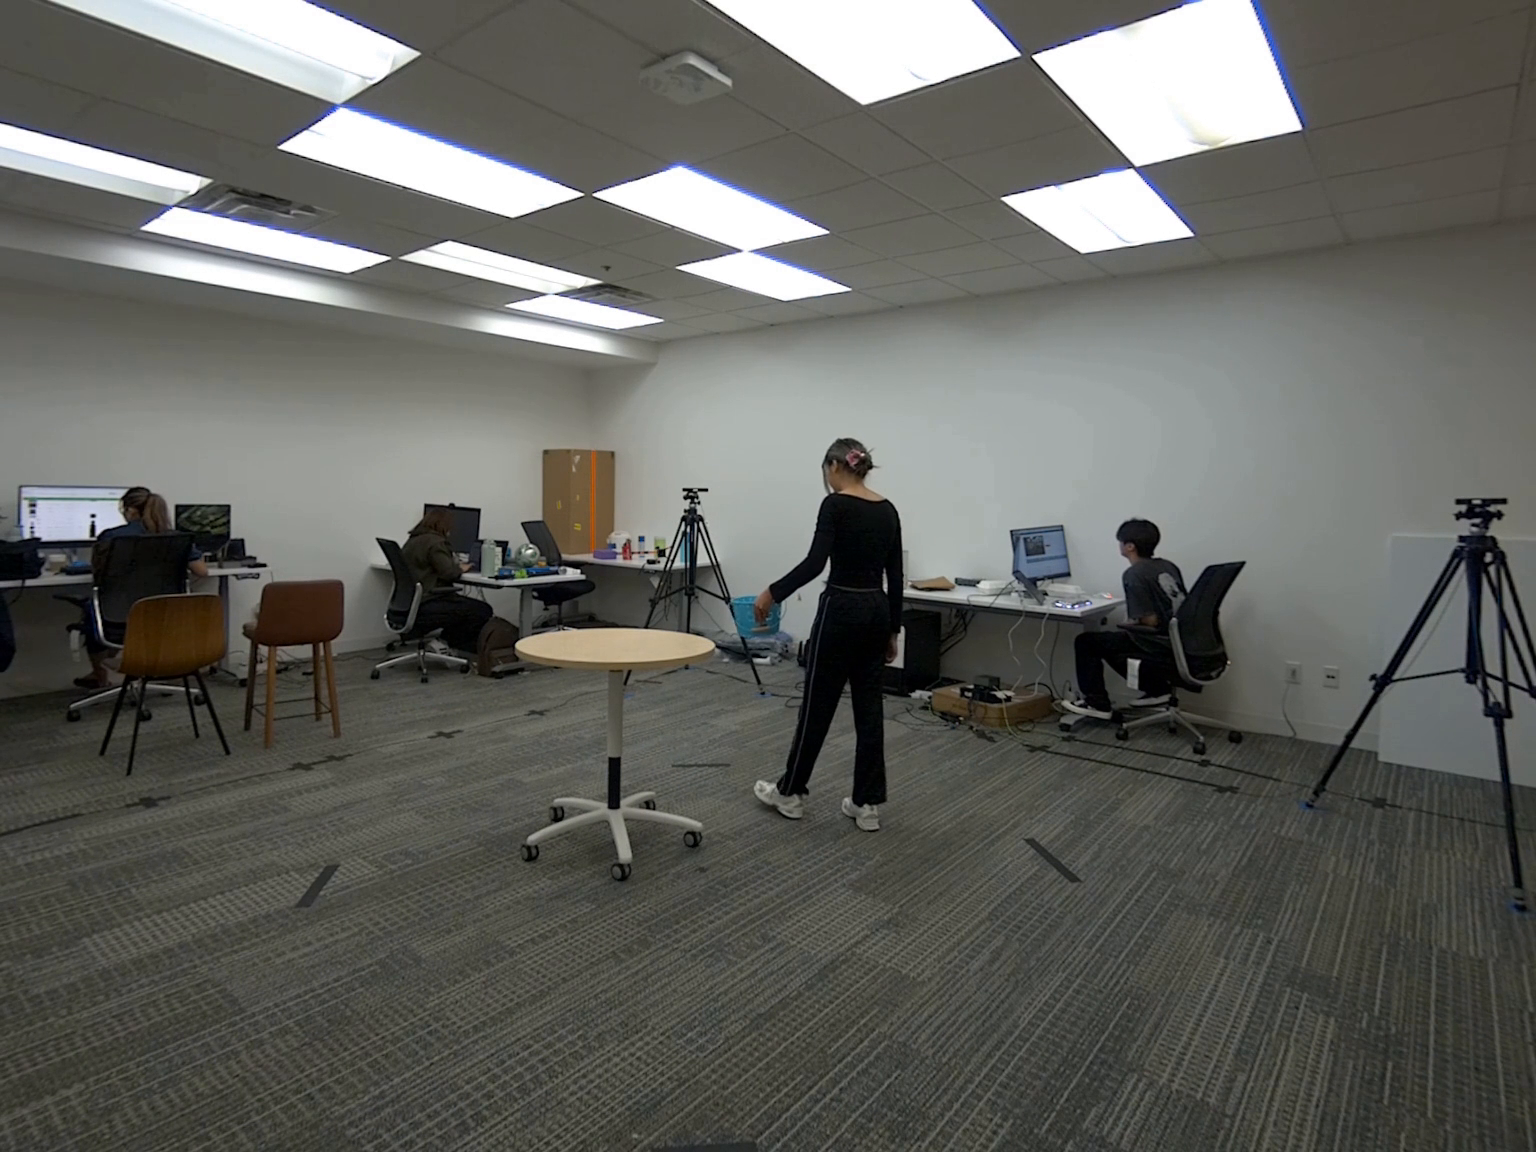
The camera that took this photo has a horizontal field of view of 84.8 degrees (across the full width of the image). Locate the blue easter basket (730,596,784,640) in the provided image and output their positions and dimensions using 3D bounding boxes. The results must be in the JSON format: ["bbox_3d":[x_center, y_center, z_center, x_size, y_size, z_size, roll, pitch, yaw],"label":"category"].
[{"bbox_3d":[-0.055,0.169,3.722,0.243,0.155,0.245,-4,6,-1],"label":"blue easter basket"}]
